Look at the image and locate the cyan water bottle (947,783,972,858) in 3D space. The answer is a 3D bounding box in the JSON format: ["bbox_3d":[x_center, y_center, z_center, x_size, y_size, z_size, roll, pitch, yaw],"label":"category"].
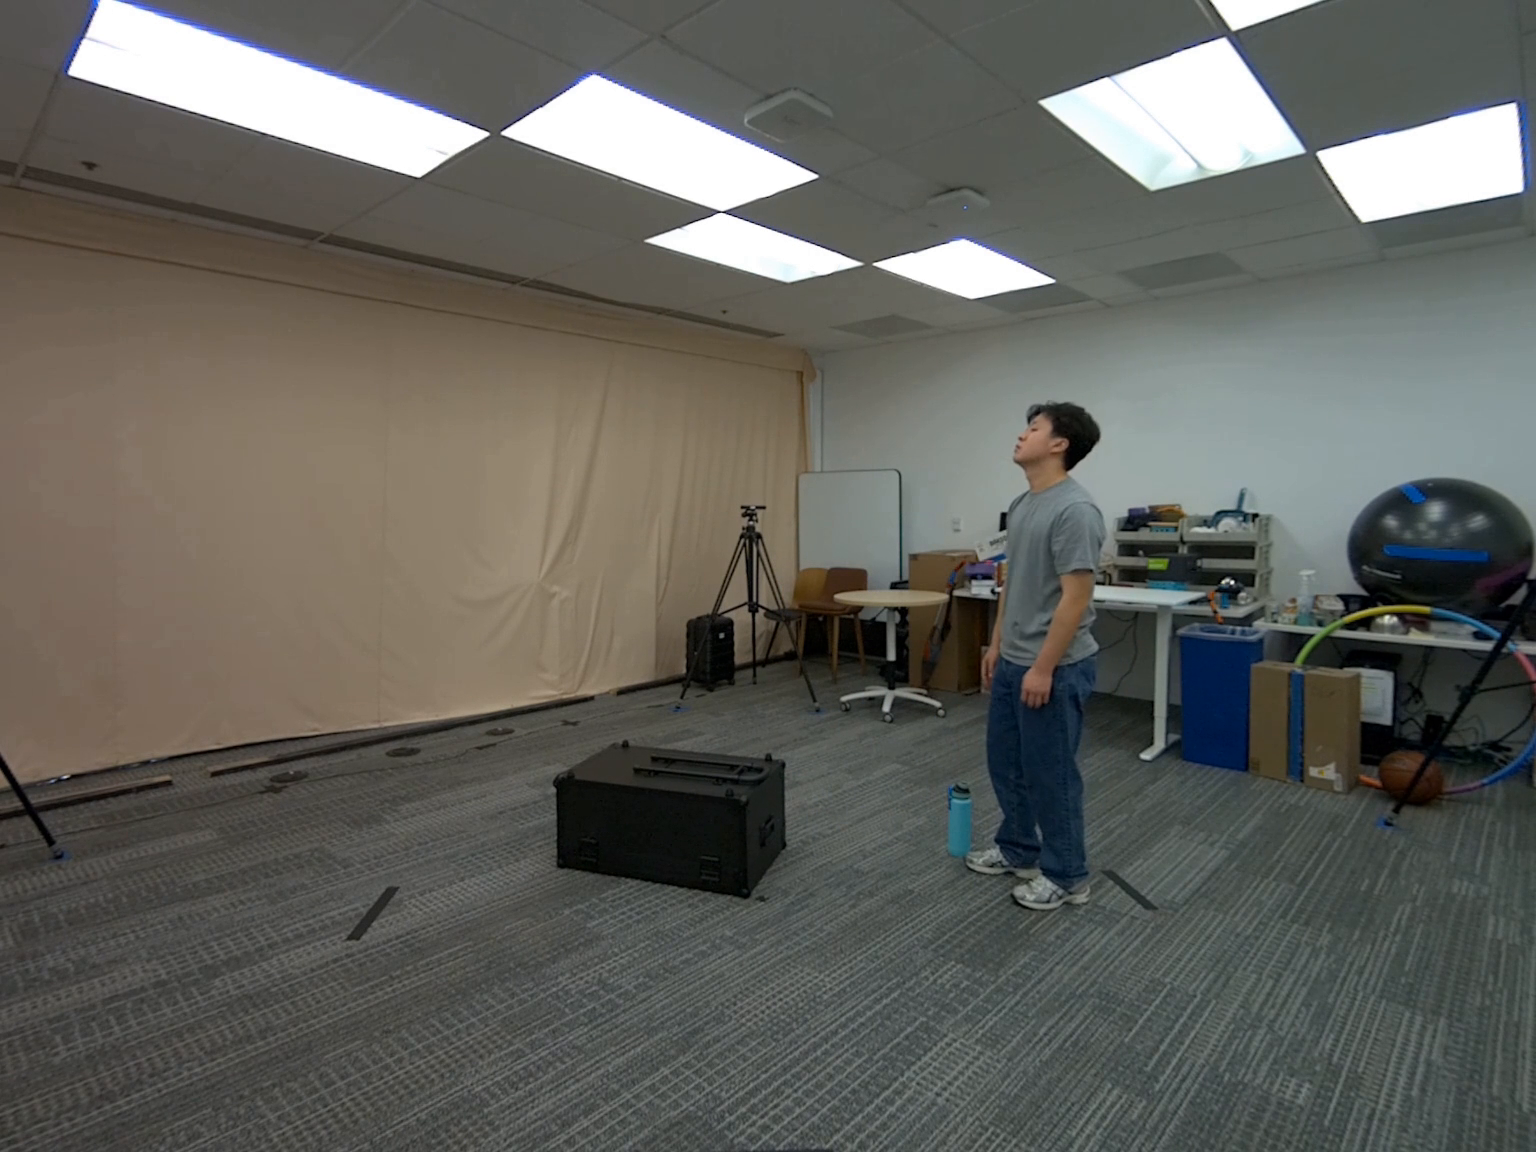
[{"bbox_3d":[0.771,0.972,3.375,0.092,0.283,0.092,0,2,-2],"label":"cyan water bottle"}]
